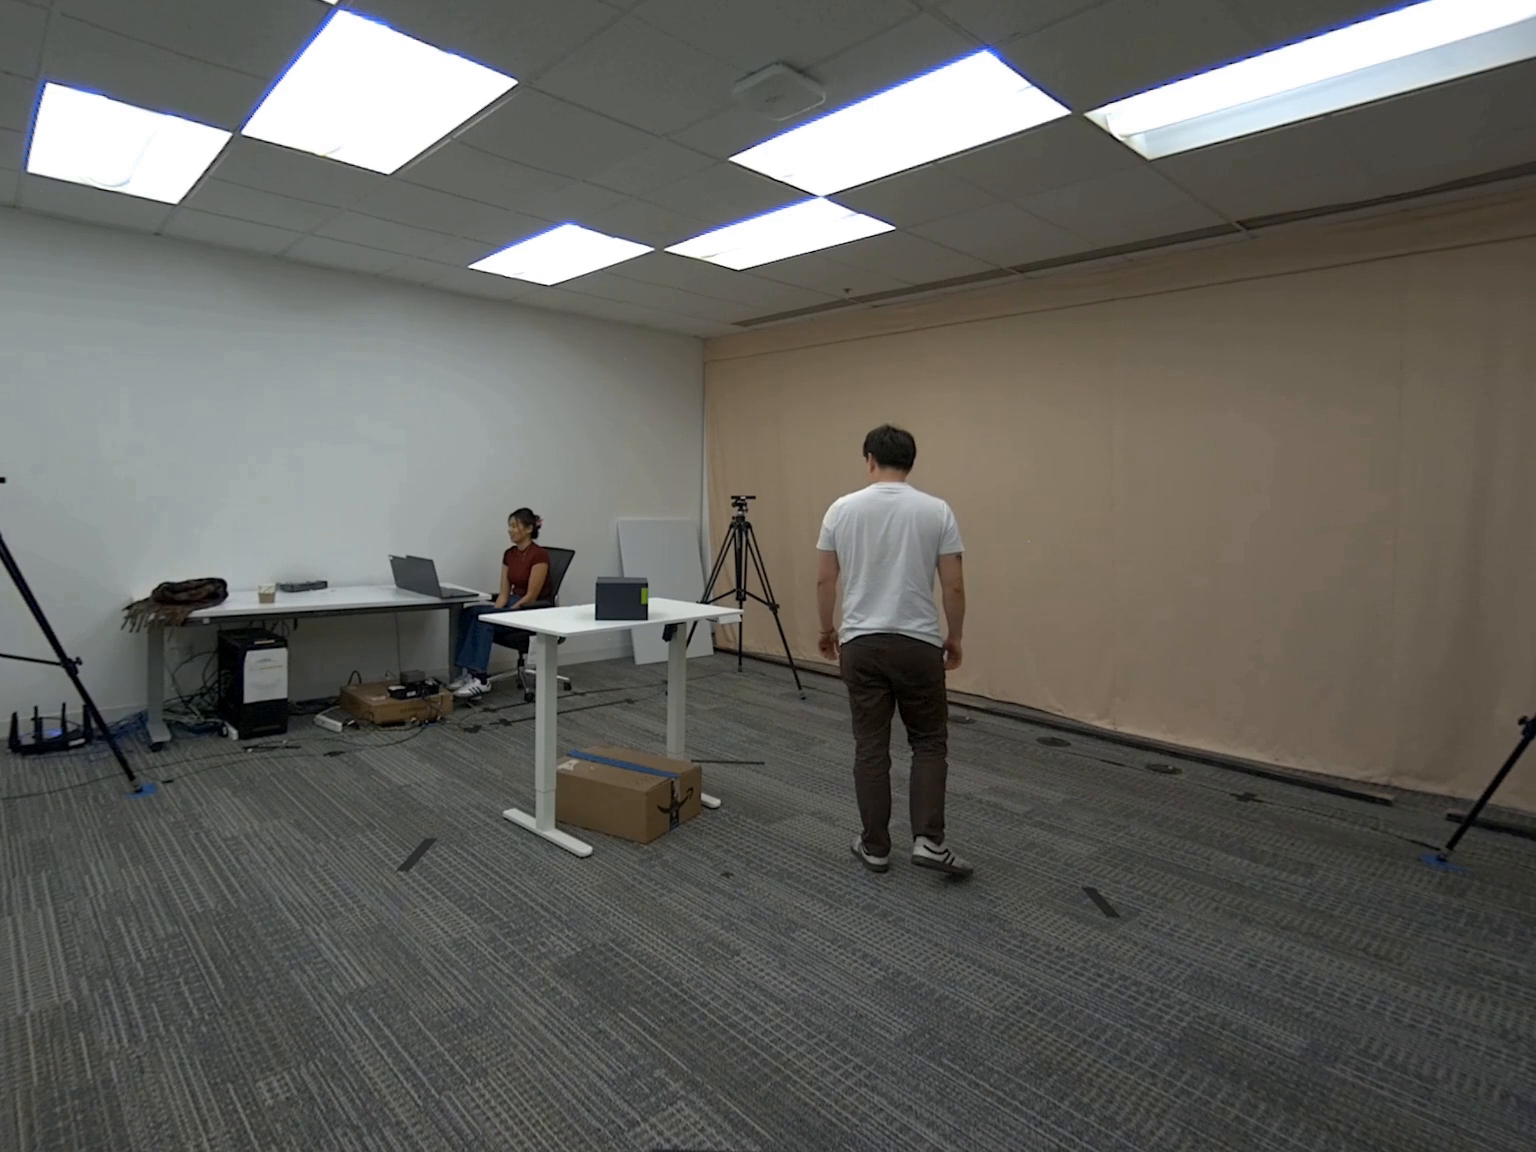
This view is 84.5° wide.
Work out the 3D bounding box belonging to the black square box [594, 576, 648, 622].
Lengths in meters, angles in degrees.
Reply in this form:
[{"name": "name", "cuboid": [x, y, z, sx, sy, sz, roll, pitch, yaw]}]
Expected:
[{"name": "black square box", "cuboid": [-0.620, 0.091, 3.529, 0.215, 0.155, 0.230, 0, 5, -10]}]
